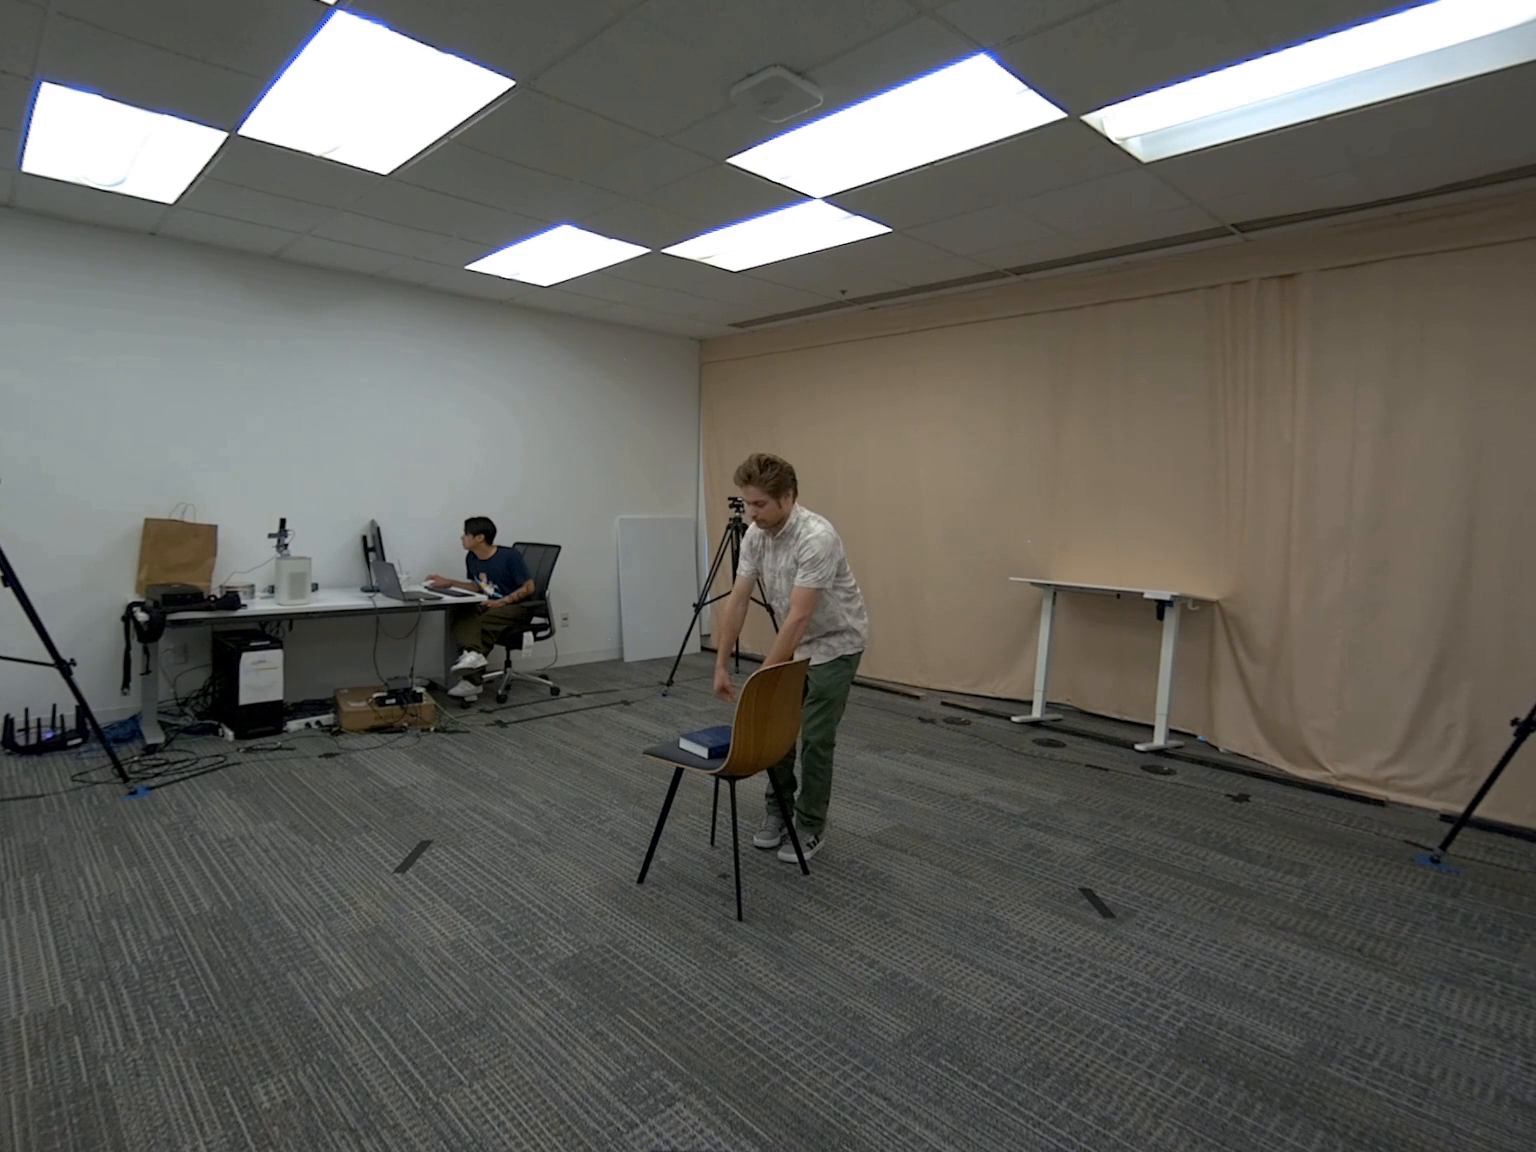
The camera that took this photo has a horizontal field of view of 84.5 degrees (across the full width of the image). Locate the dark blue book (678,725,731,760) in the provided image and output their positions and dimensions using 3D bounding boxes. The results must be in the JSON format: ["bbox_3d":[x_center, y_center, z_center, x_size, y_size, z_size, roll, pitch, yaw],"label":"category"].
[{"bbox_3d":[-0.184,0.602,3.069,0.168,0.045,0.239,9,9,43],"label":"dark blue book"}]
